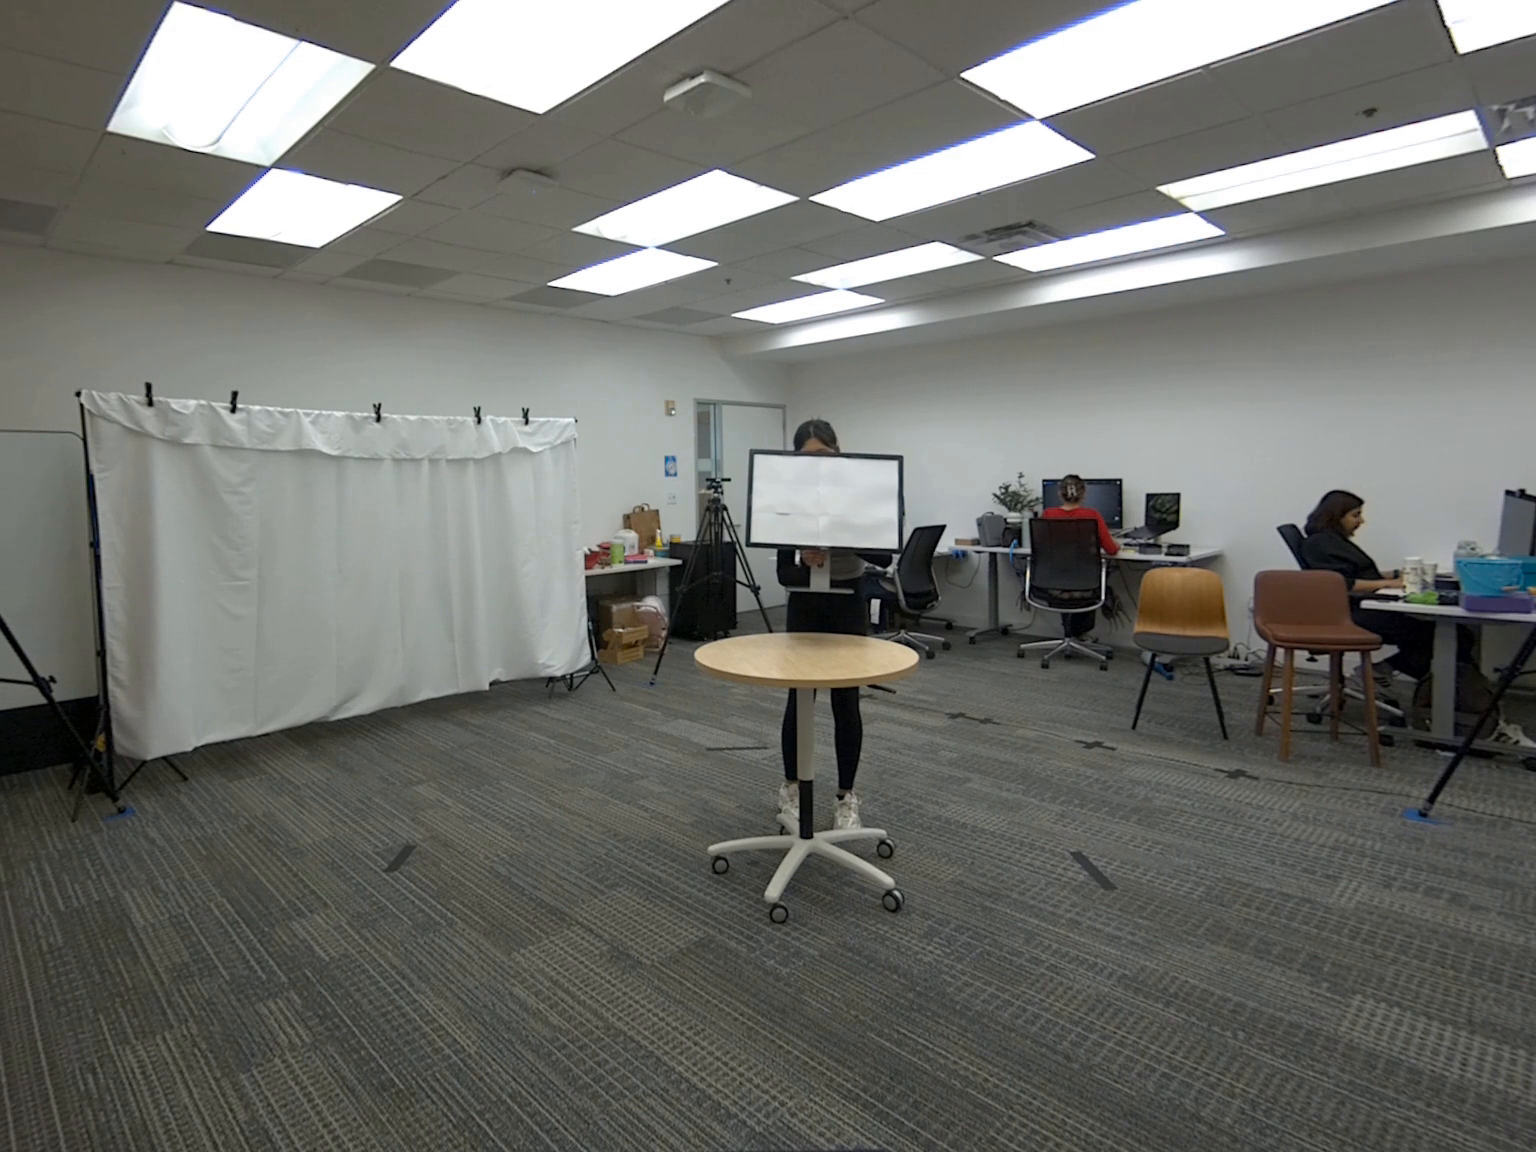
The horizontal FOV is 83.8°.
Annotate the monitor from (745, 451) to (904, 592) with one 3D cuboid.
[{"bbox_3d":[0.188,-0.186,3.105,0.539,0.522,0.187,3,0,0],"label":"monitor"}]
